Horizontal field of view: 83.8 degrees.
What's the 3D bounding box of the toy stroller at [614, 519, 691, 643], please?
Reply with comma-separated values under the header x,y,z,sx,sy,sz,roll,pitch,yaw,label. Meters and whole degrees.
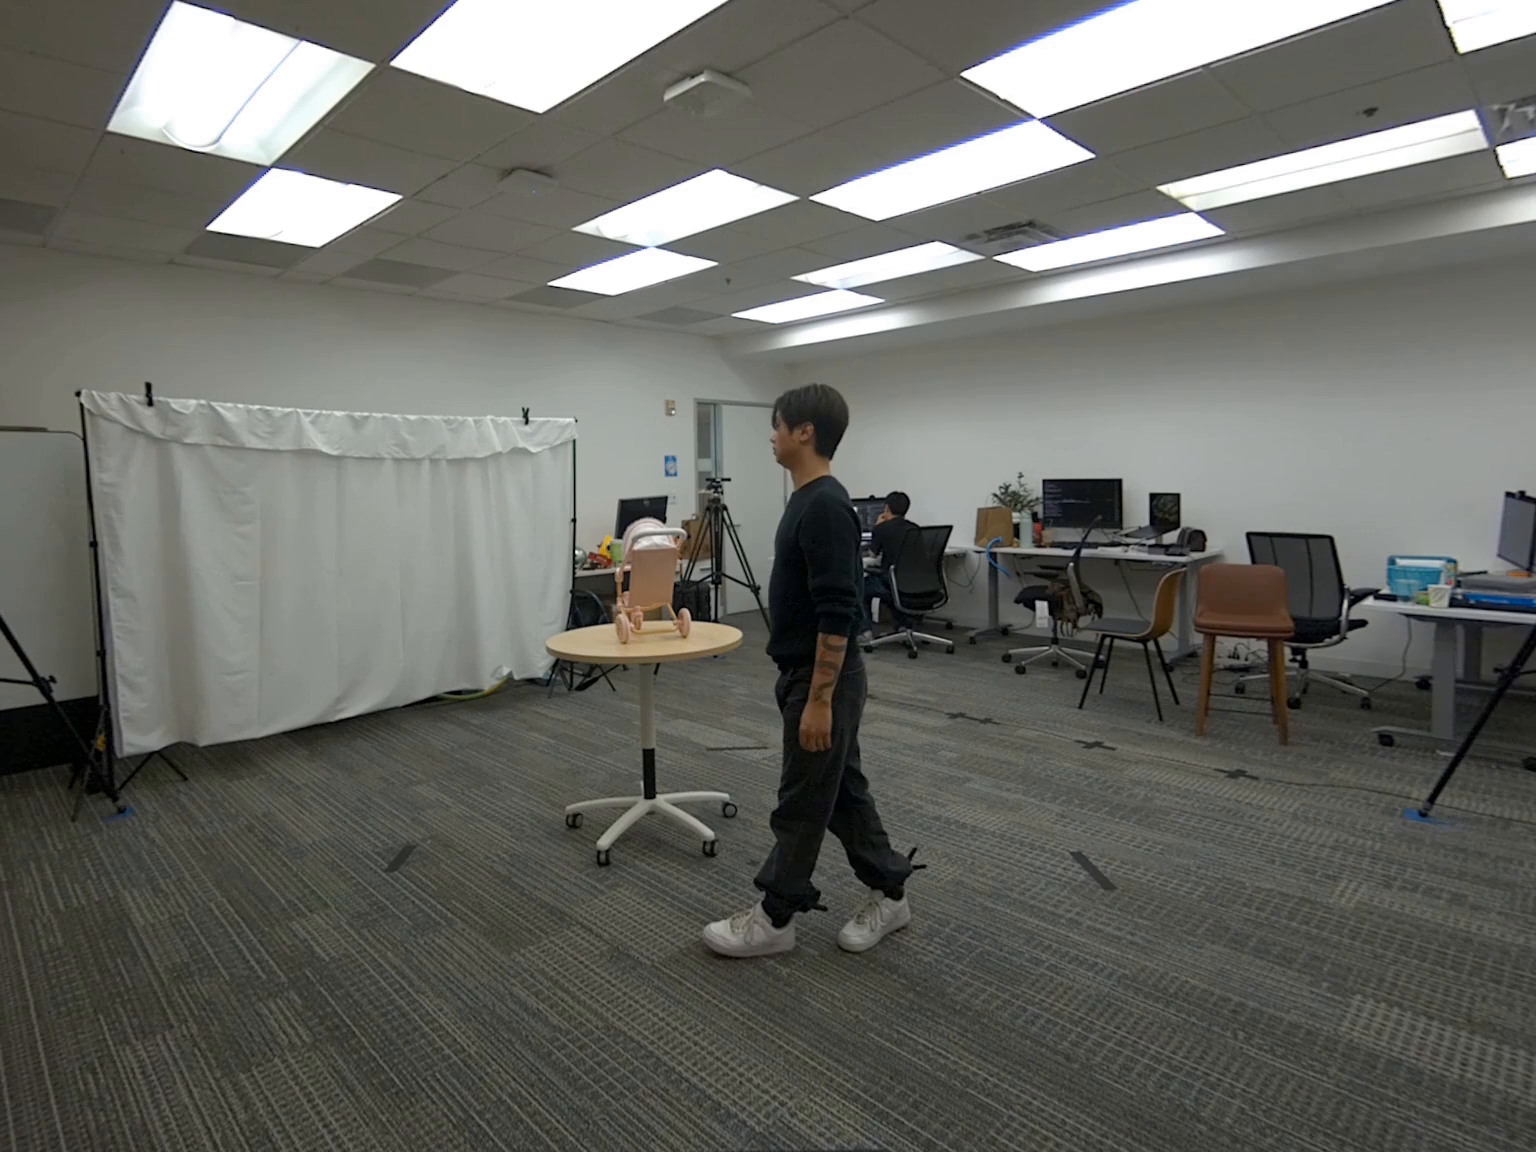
x,y,z,sx,sy,sz,roll,pitch,yaw,label
-0.465,0.016,3.330,0.277,0.527,0.352,-3,20,-19,toy stroller
